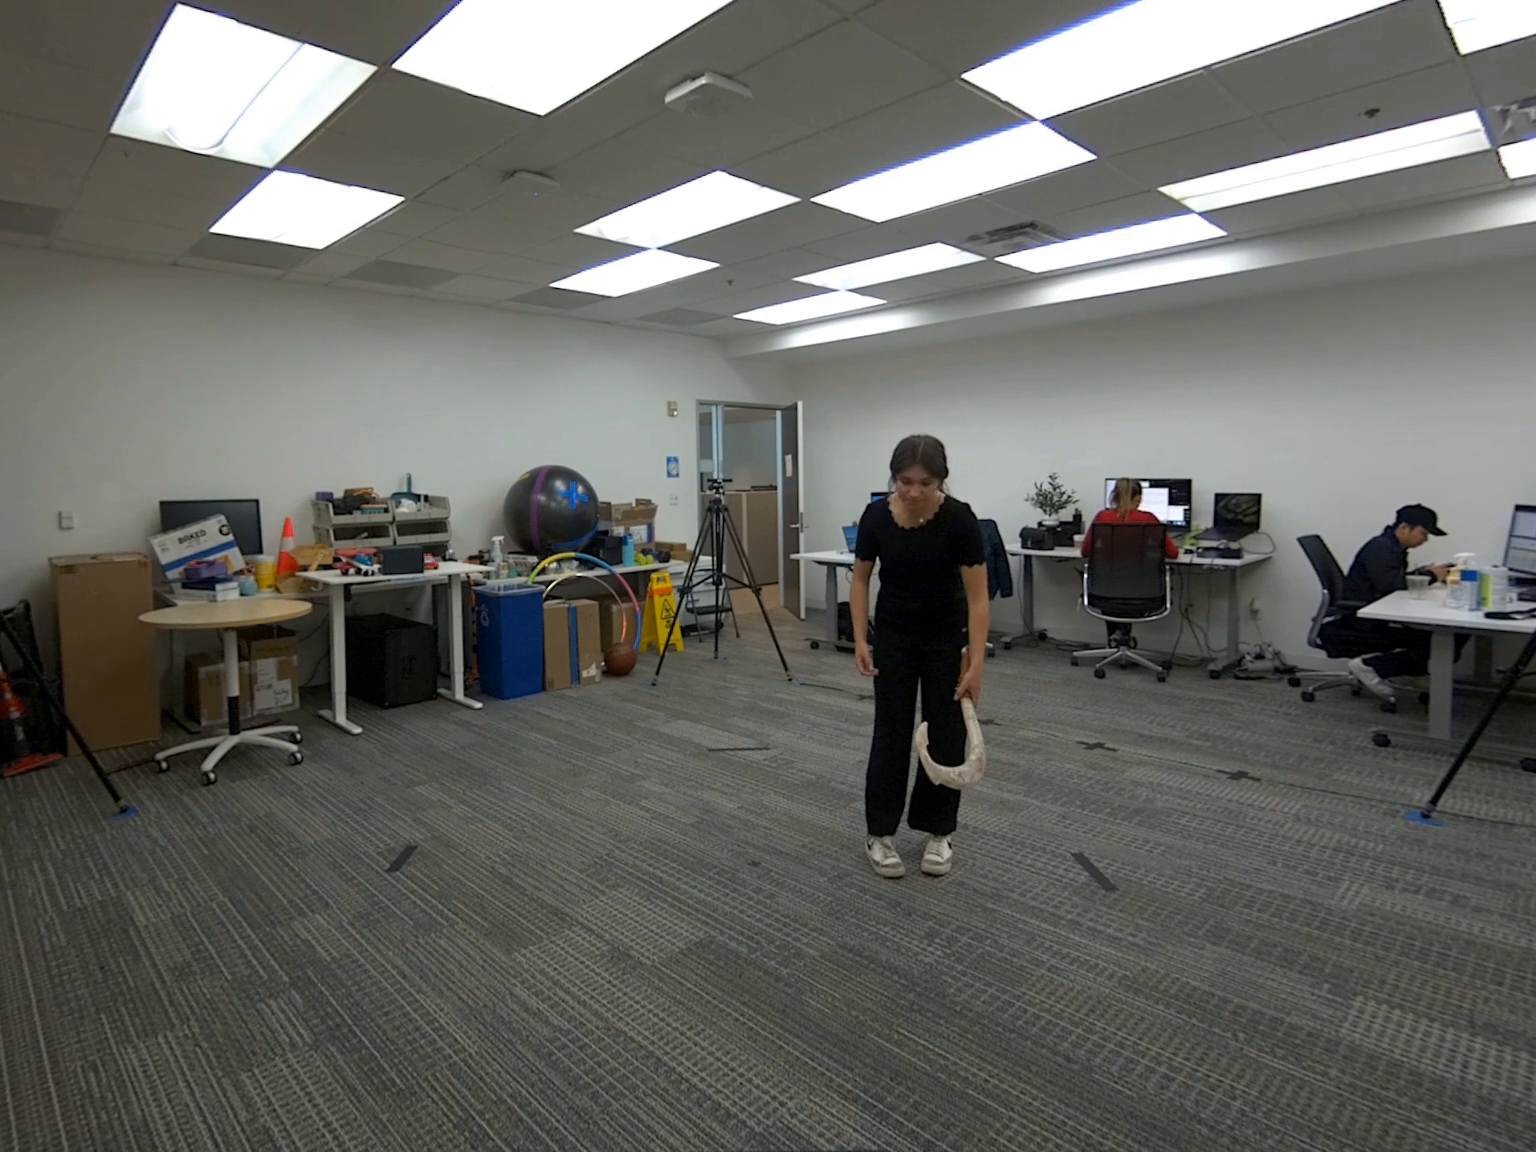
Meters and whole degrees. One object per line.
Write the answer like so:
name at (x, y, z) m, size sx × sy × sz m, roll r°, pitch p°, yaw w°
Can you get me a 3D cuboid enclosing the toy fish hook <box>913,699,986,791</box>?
toy fish hook at (0.586, 0.444, 2.772) m, size 0.224 × 0.516 × 0.047 m, roll 13°, pitch -35°, yaw -2°
